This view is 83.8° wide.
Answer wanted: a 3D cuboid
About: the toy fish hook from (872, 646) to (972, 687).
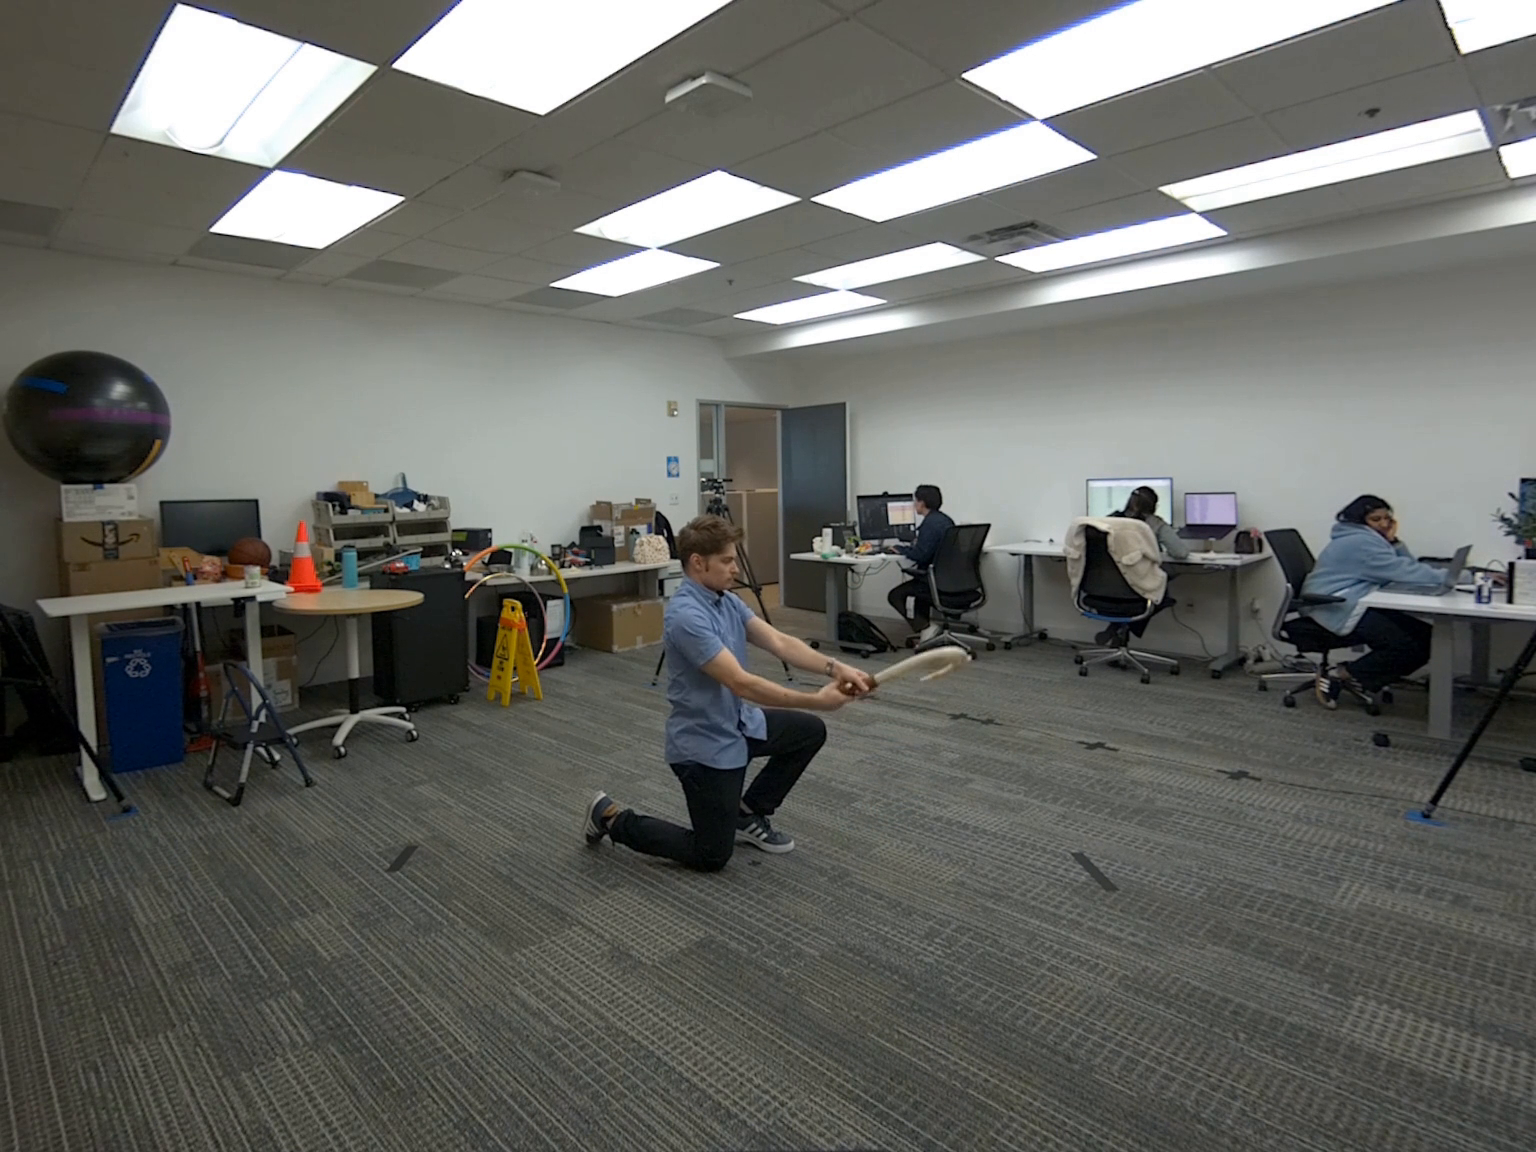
[{"bbox_3d":[0.416,0.352,2.886,0.511,0.050,0.216,-23,-36,19],"label":"toy fish hook"}]
